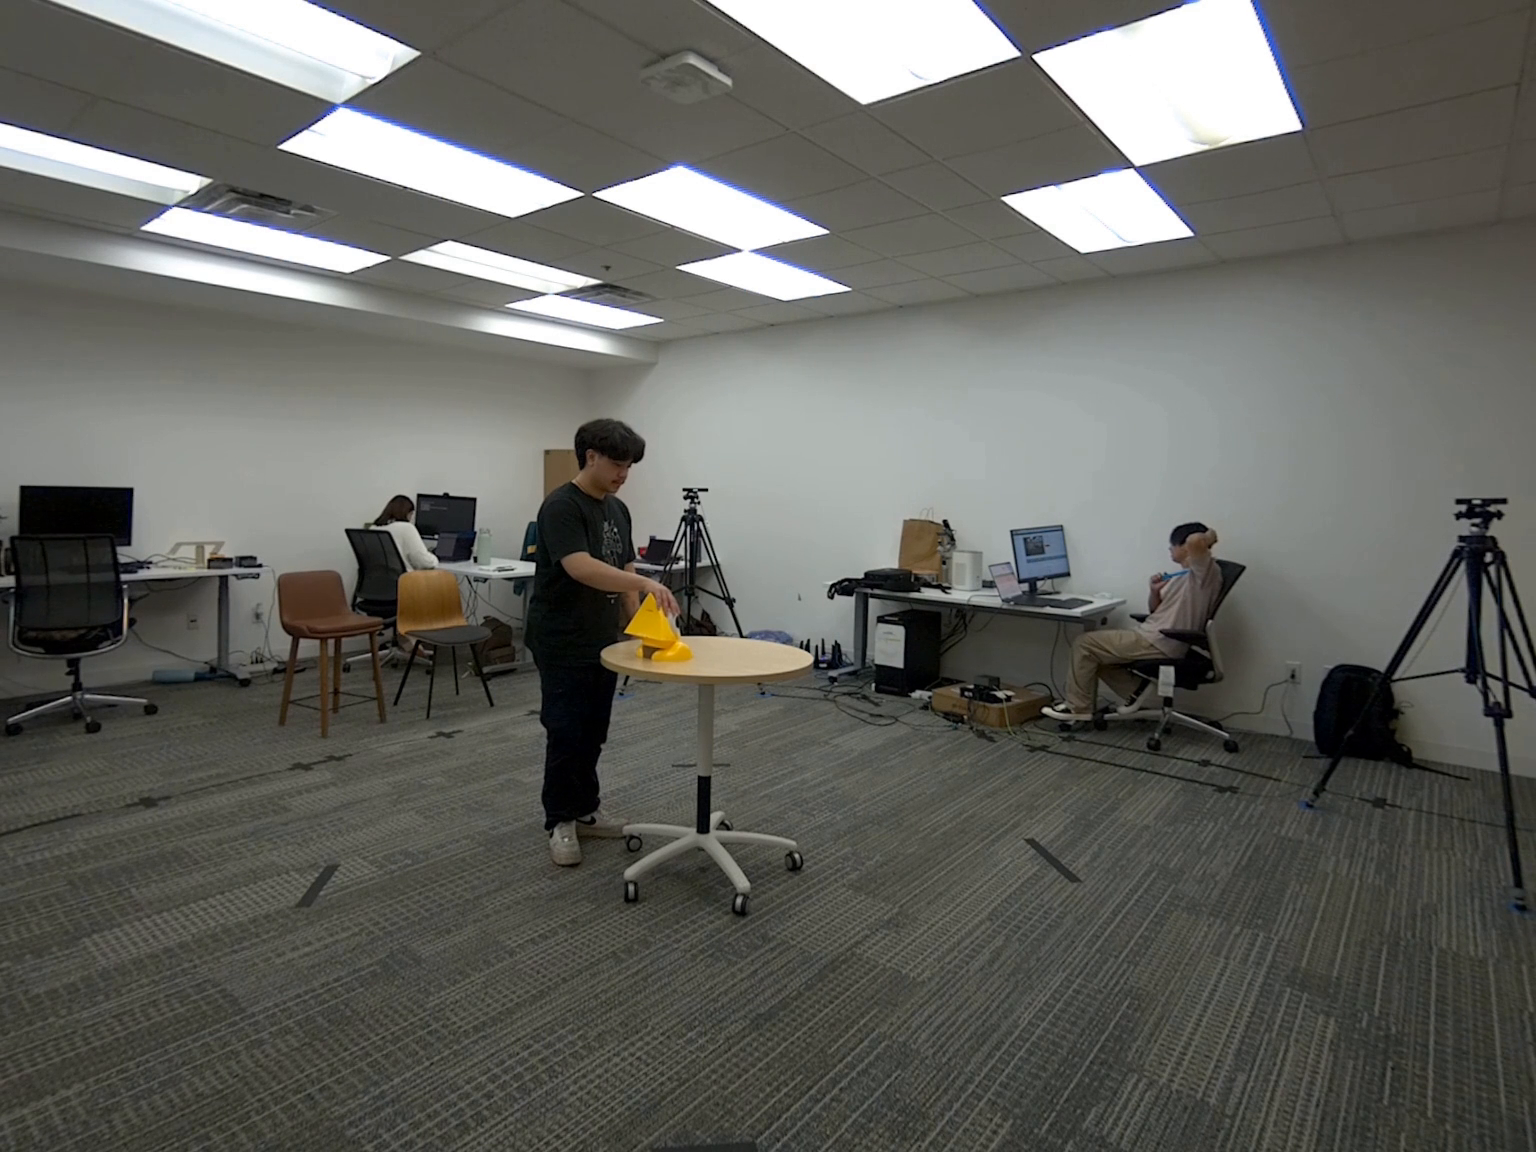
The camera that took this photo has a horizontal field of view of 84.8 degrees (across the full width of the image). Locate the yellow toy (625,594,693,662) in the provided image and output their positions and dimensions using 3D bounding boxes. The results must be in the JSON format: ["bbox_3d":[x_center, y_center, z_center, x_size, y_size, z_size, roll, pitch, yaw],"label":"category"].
[{"bbox_3d":[-0.378,0.168,3.001,0.212,0.230,0.187,5,5,43],"label":"yellow toy"}]
